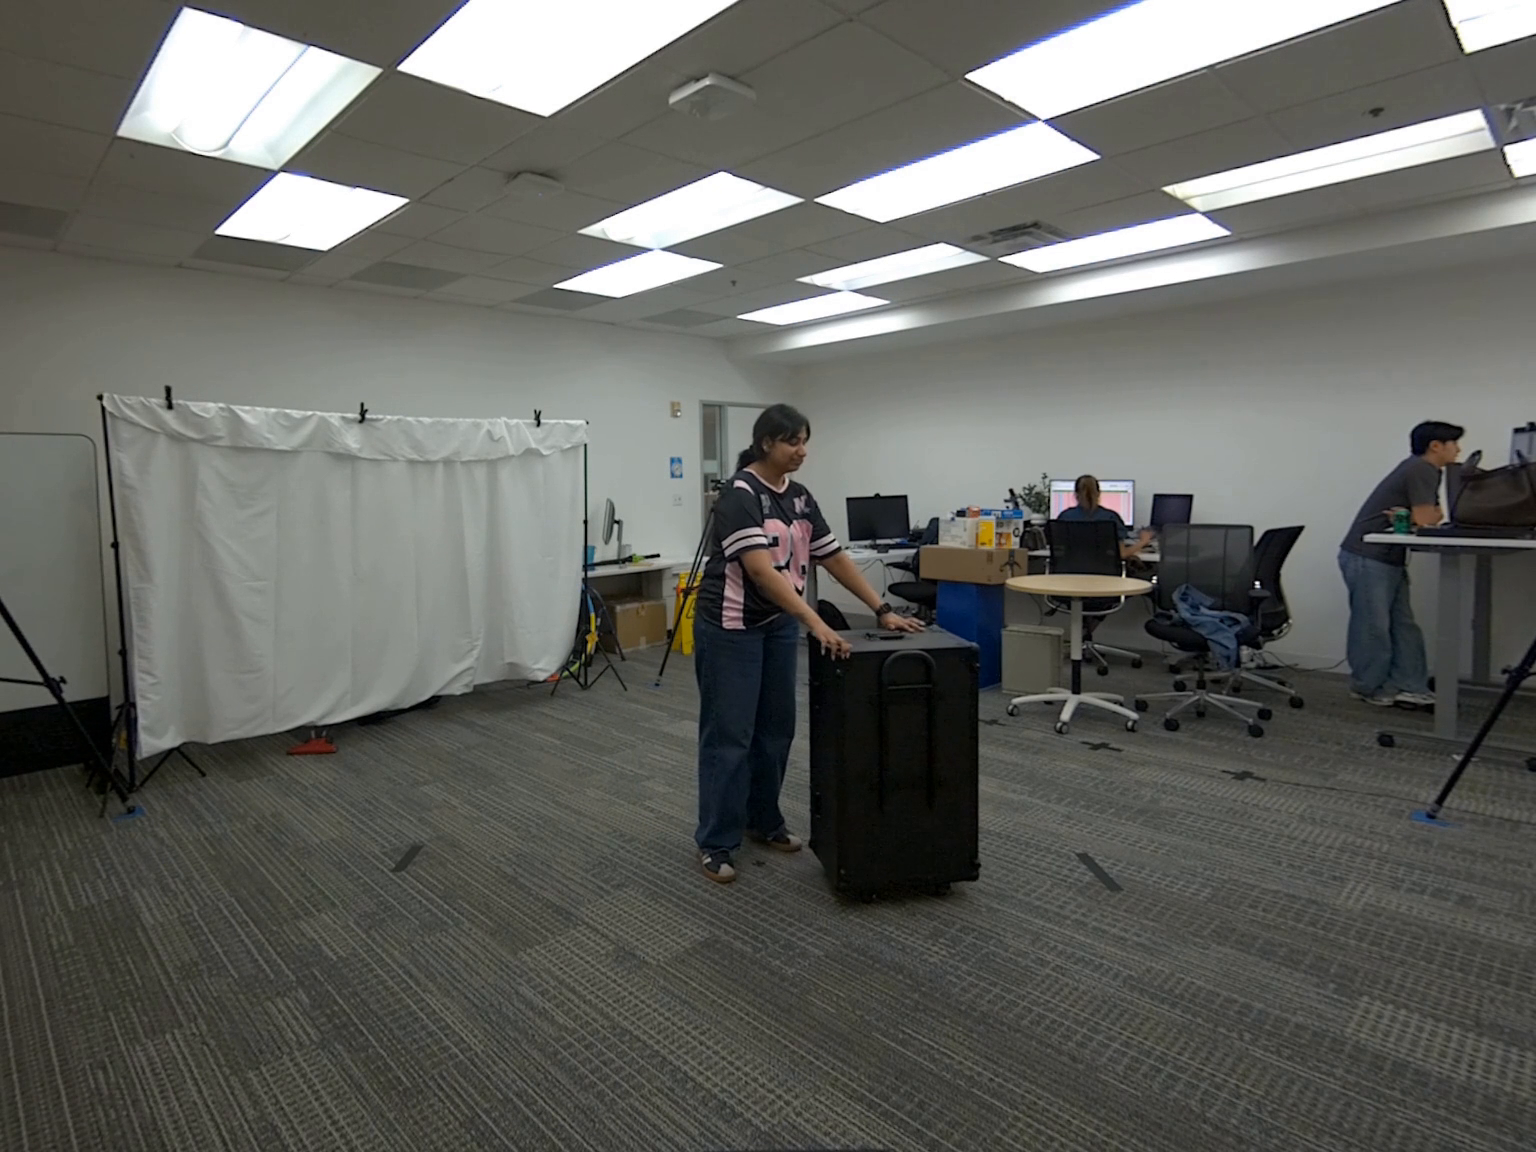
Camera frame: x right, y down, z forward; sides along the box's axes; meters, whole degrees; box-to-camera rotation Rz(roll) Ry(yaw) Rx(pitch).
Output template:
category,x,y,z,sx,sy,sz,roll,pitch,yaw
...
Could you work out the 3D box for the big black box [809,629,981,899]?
category,x,y,z,sx,sy,sz,roll,pitch,yaw
big black box,0.418,0.634,2.918,0.518,0.866,0.390,-2,4,-10
